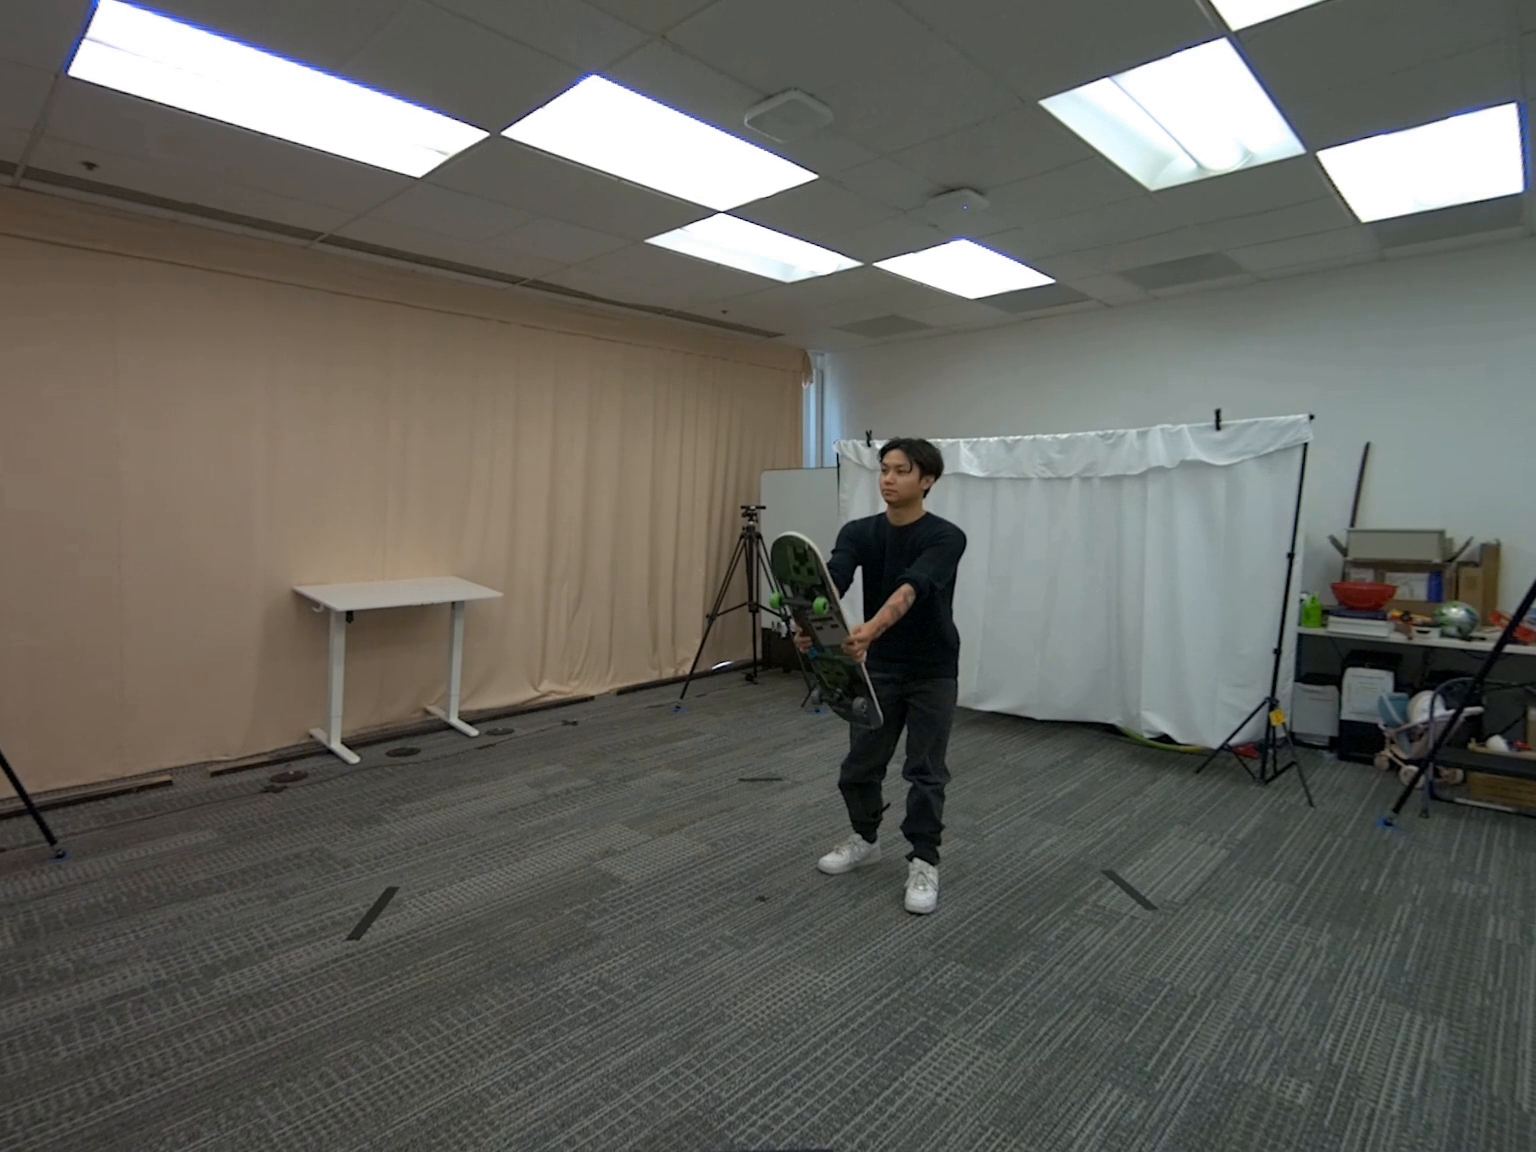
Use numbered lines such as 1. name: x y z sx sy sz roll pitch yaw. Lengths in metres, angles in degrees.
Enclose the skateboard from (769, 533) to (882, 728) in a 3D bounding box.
1. skateboard: 0.175 0.223 2.550 0.200 0.766 0.109 5 38 39
